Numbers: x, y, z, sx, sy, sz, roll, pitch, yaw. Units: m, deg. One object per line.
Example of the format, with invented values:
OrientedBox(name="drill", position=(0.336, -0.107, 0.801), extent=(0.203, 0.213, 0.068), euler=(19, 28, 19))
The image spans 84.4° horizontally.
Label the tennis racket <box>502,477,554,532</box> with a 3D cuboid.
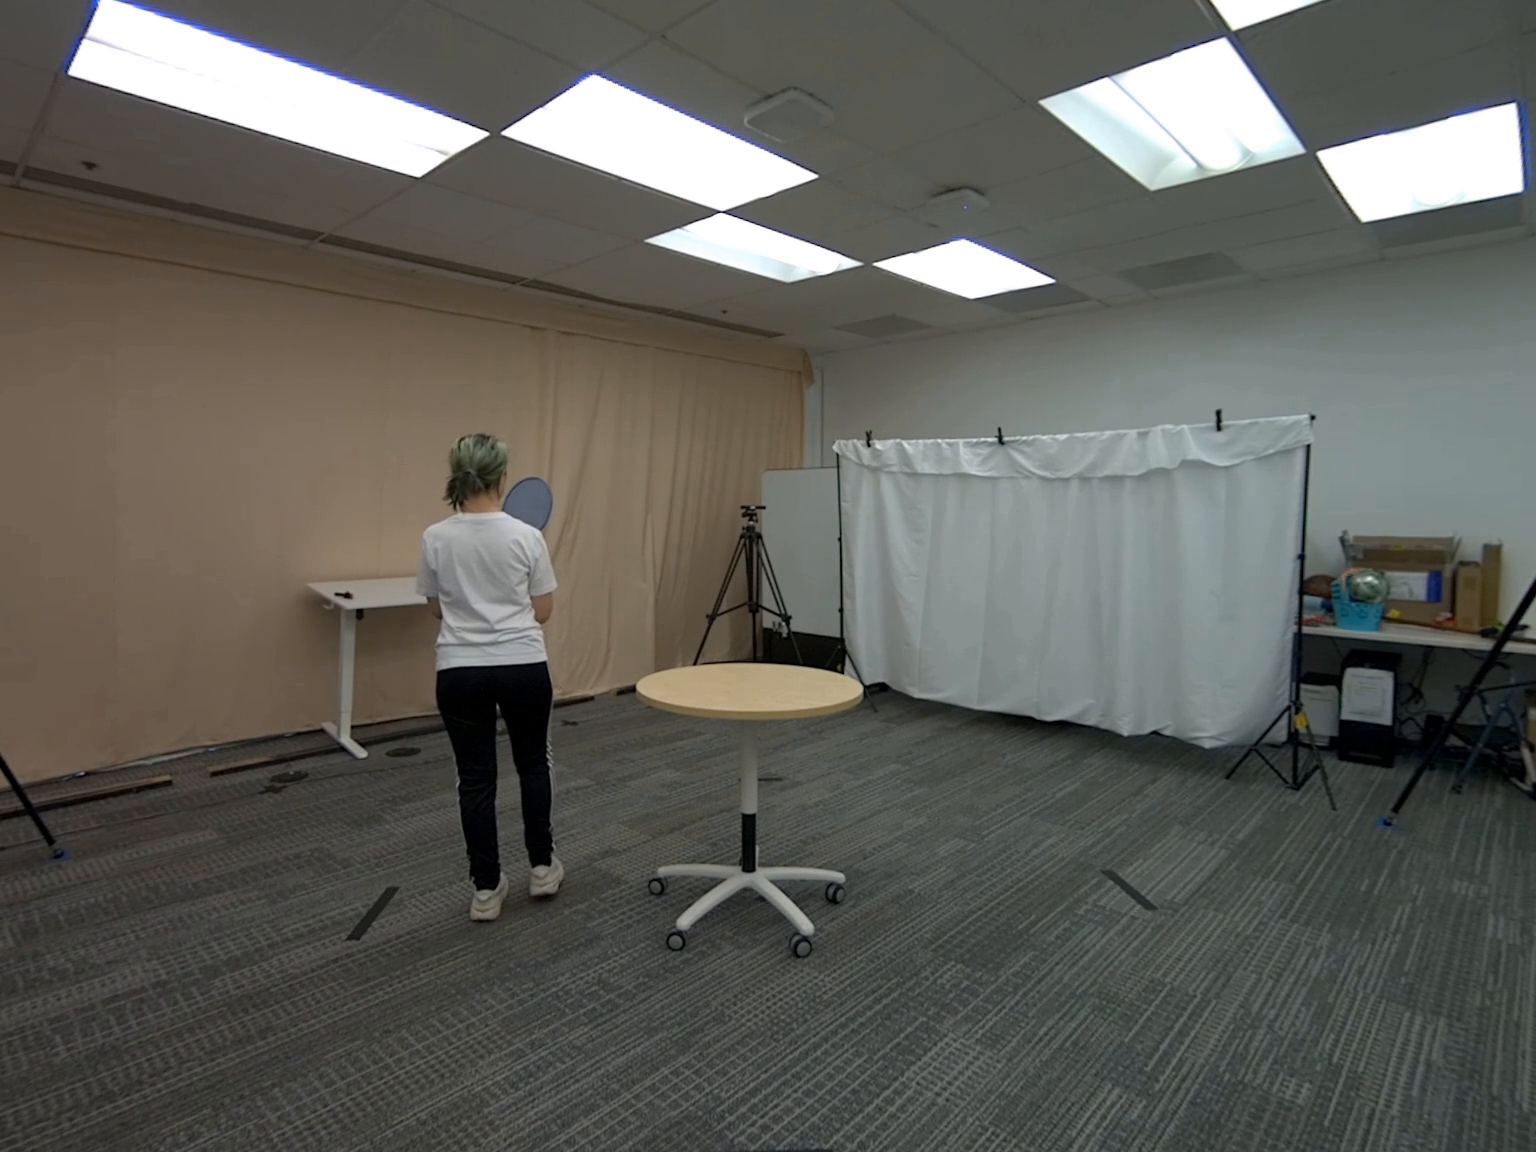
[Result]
OrientedBox(name="tennis racket", position=(-0.921, -0.185, 3.214), extent=(0.216, 0.440, 0.031), euler=(-12, -24, 14))
